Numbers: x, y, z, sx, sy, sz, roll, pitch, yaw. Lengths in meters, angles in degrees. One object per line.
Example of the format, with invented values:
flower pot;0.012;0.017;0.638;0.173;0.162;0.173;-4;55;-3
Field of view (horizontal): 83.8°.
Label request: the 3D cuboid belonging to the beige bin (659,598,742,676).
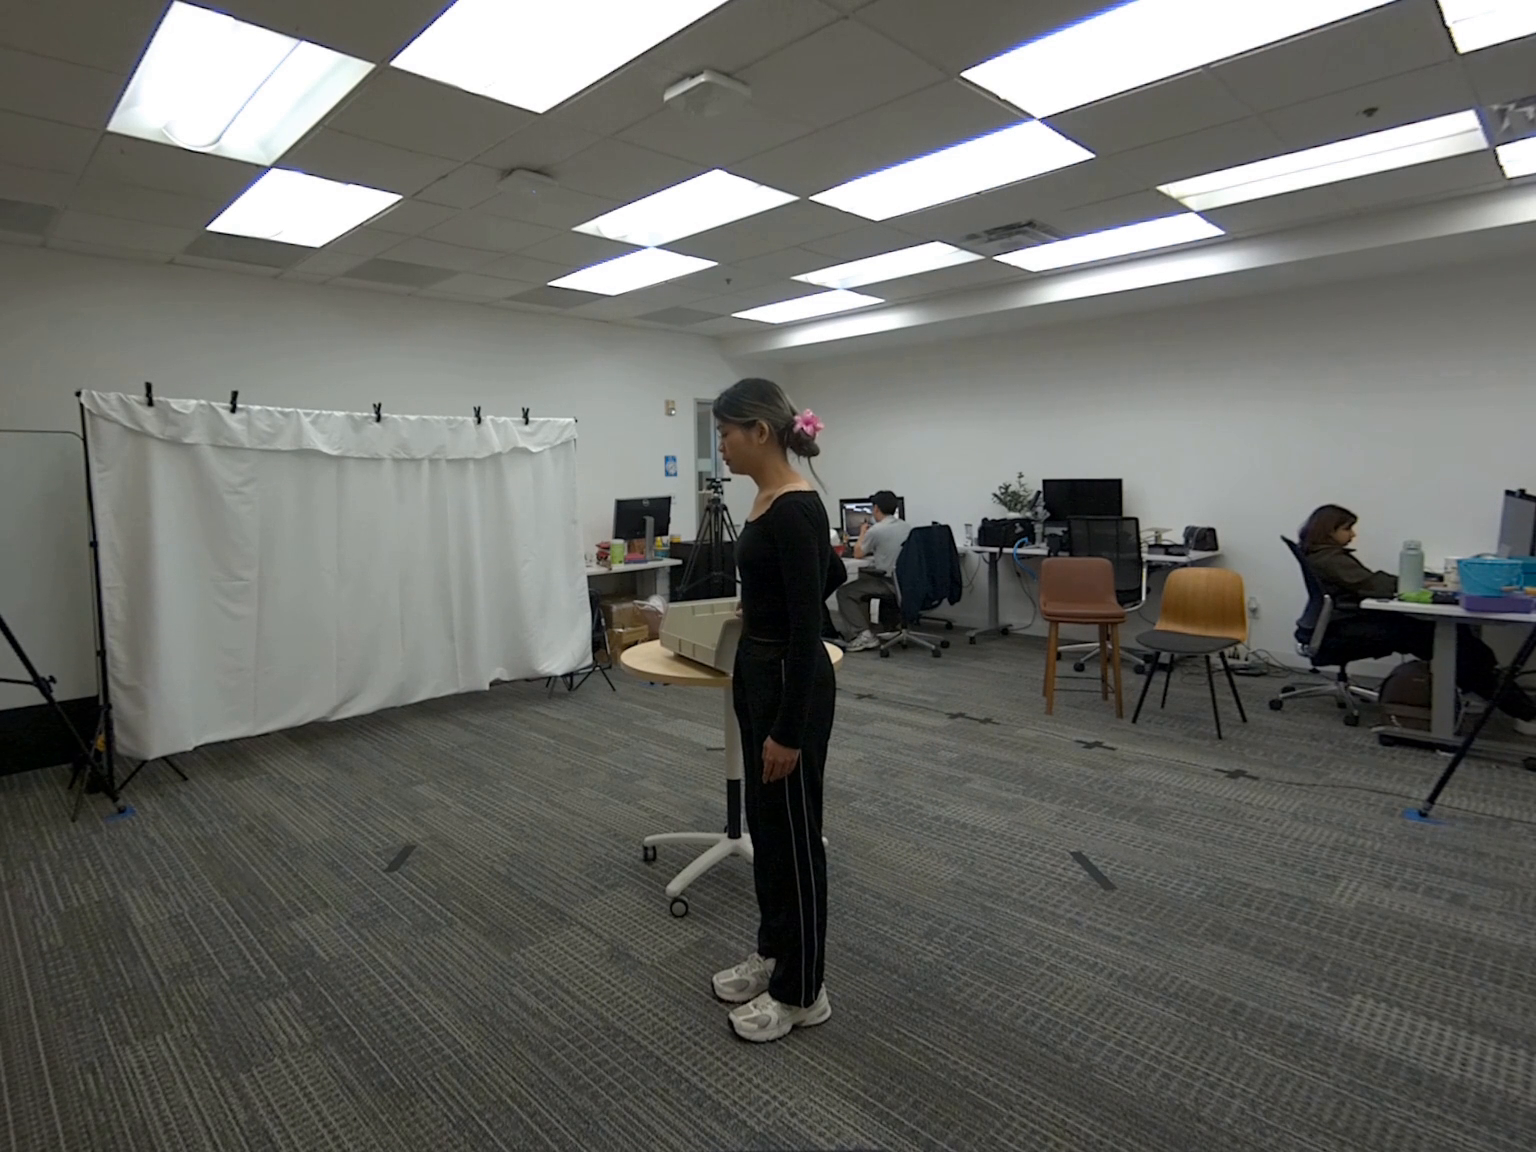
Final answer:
beige bin;-0.104;0.192;2.817;0.368;0.188;0.434;-3;5;-29
